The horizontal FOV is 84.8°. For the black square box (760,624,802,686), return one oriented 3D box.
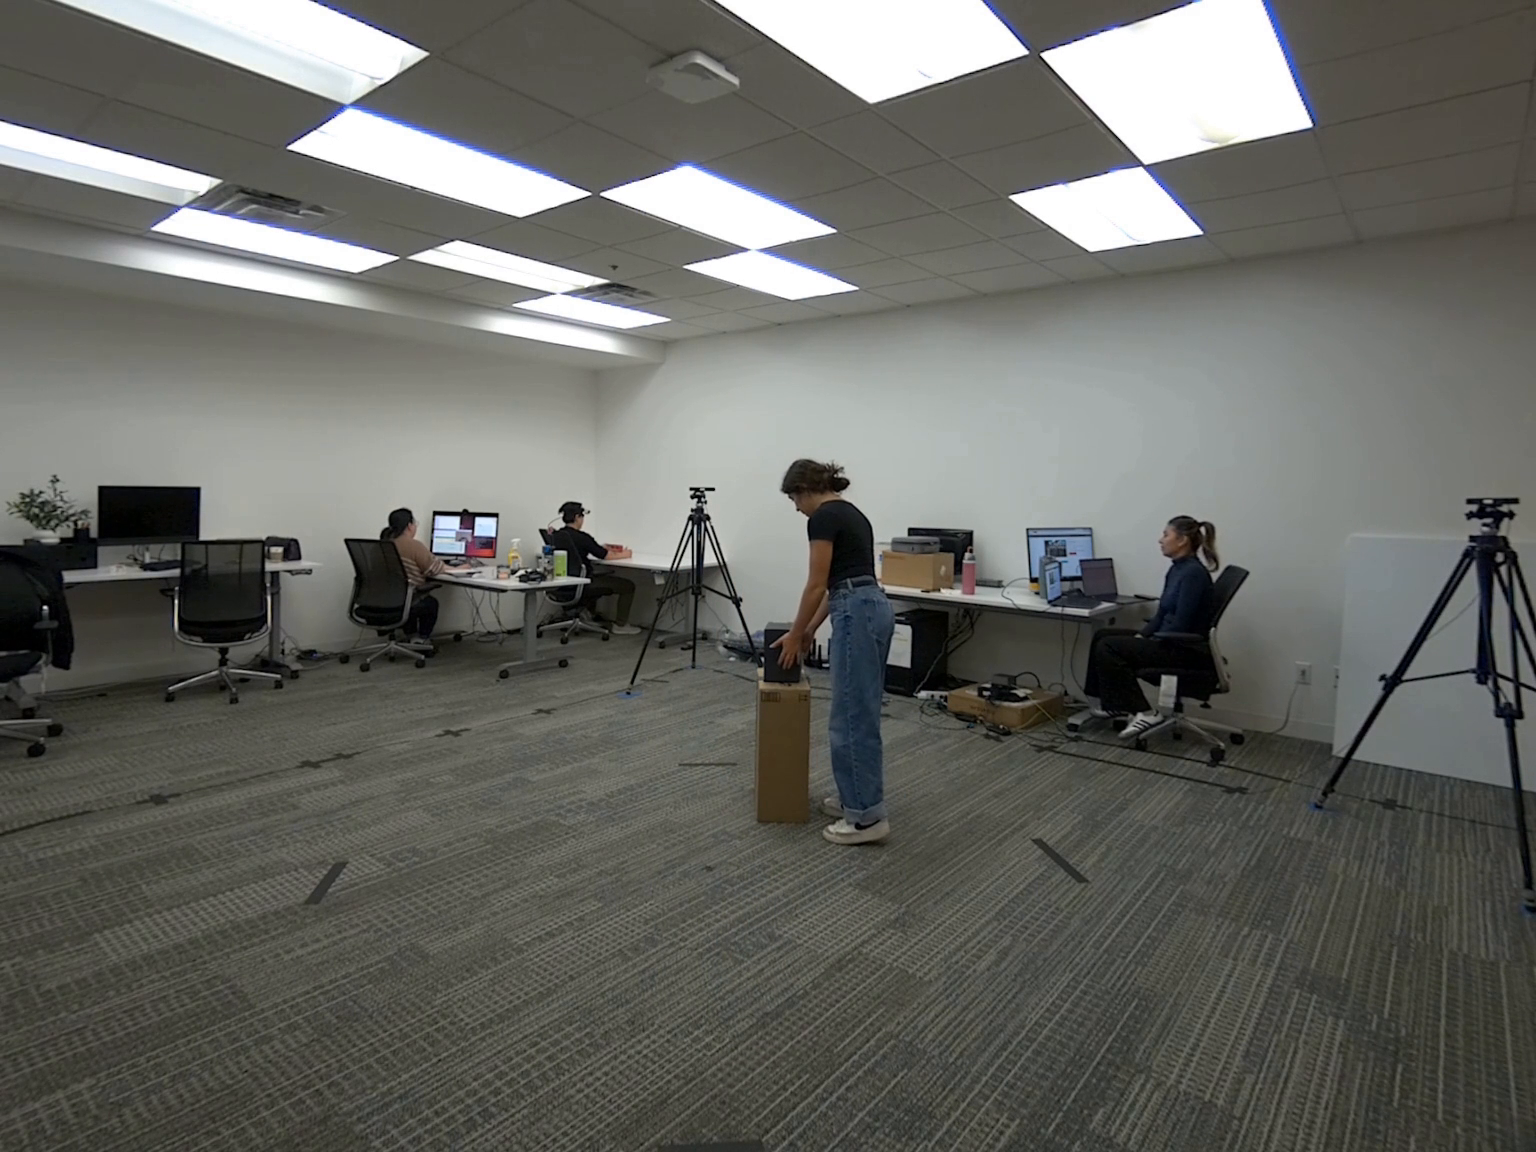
[{"bbox_3d":[0.056,0.327,3.751,0.157,0.227,0.216,2,3,4],"label":"black square box"}]
